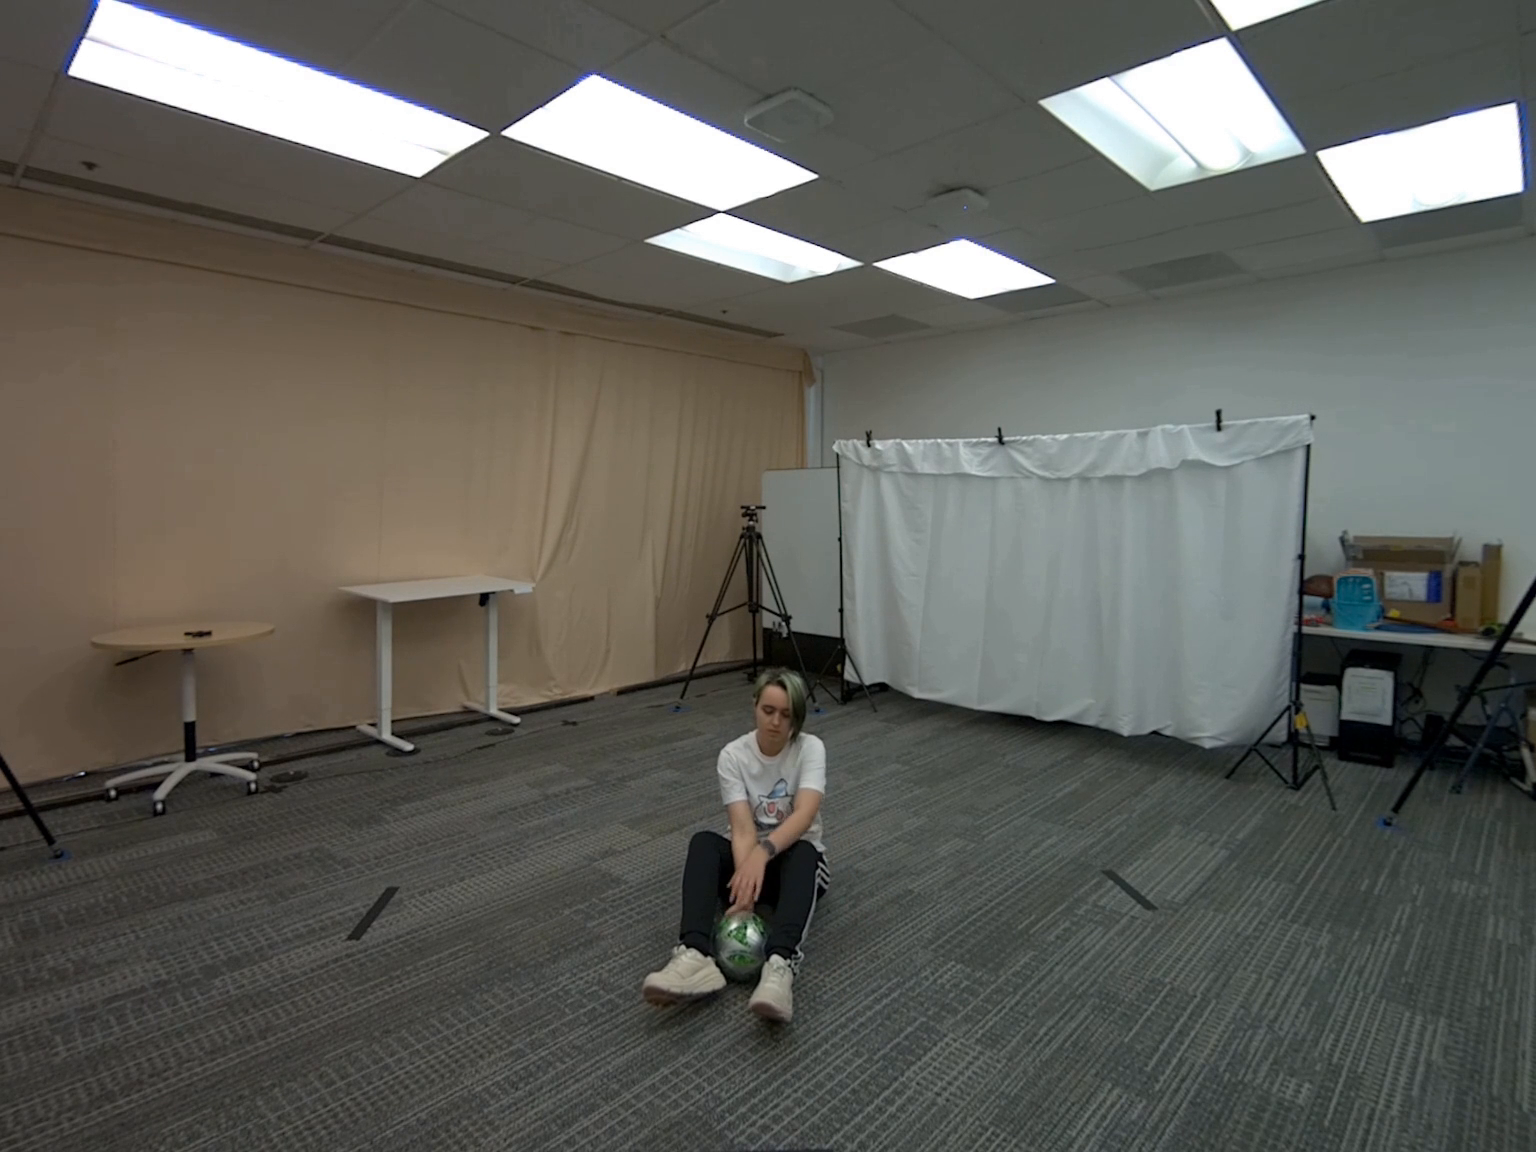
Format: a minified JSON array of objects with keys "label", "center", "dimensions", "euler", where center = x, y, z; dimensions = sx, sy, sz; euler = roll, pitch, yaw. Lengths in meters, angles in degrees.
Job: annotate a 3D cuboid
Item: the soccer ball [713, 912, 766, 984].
[{"label":"soccer ball","center":[-0.080,1.092,2.489],"dimensions":[0.187,0.187,0.188],"euler":[0,4,-2]}]
